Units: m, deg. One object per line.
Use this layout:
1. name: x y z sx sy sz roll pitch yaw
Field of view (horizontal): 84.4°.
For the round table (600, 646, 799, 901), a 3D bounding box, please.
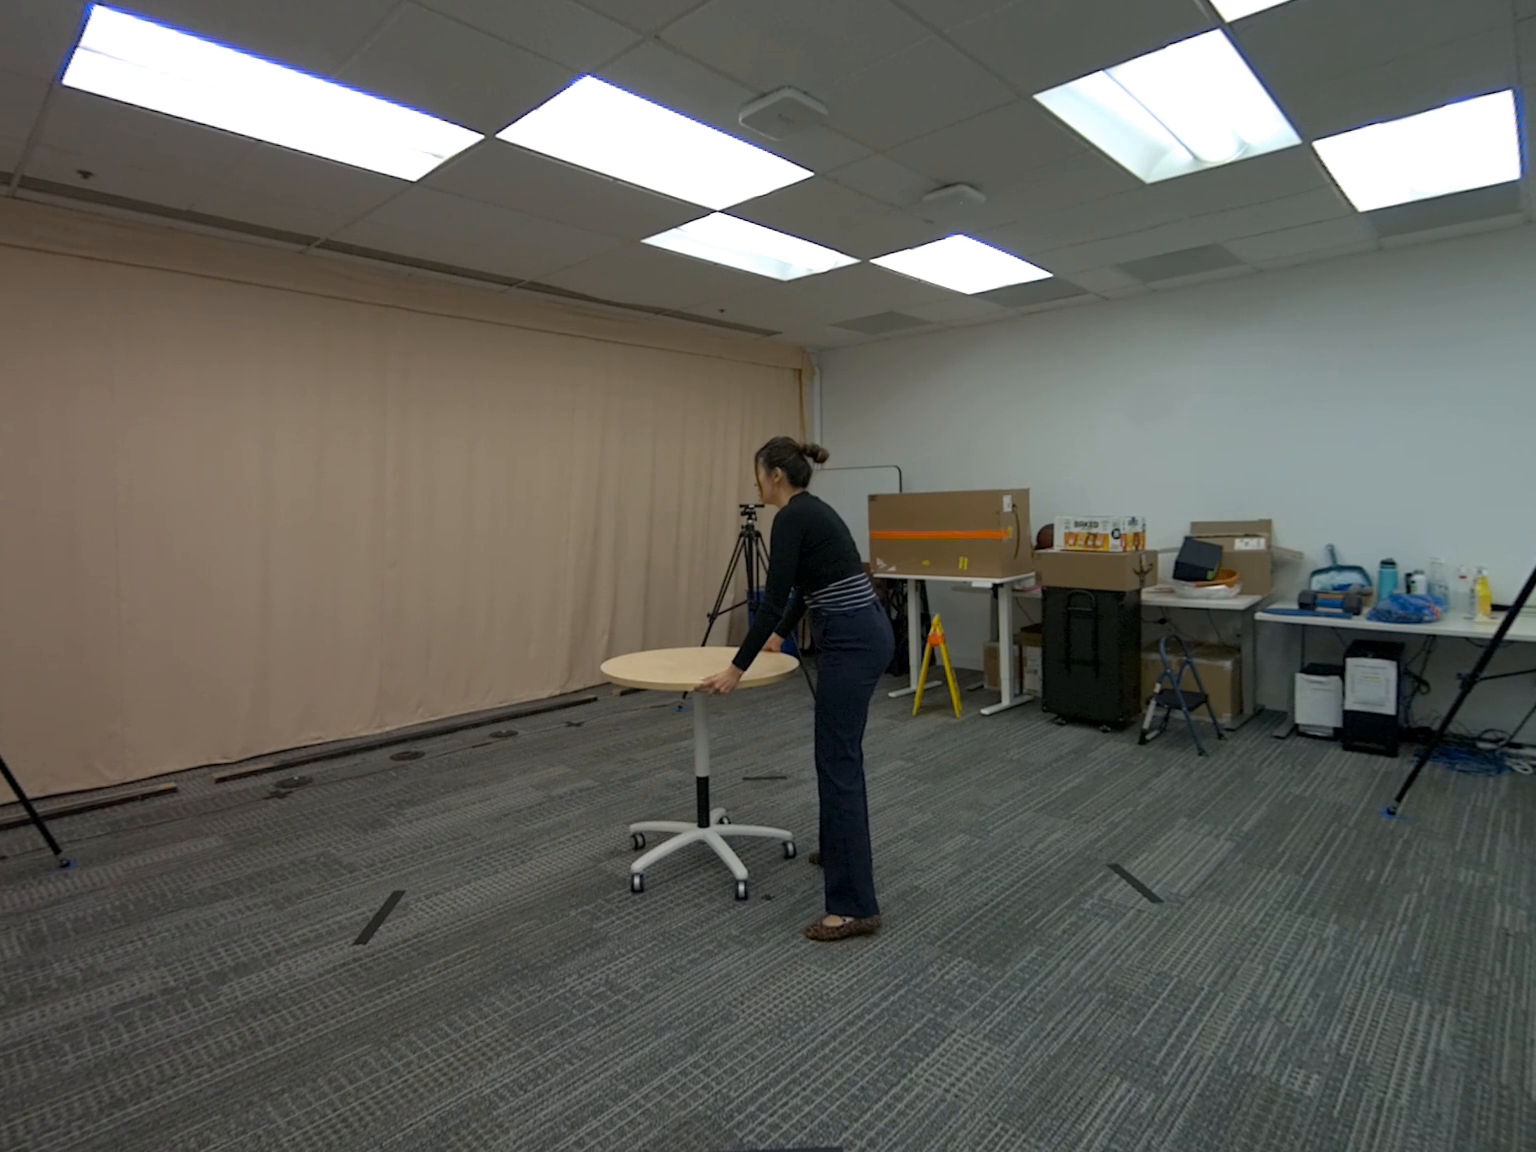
1. round table: -0.250 0.731 3.264 0.763 0.792 0.766 -2 3 -2
